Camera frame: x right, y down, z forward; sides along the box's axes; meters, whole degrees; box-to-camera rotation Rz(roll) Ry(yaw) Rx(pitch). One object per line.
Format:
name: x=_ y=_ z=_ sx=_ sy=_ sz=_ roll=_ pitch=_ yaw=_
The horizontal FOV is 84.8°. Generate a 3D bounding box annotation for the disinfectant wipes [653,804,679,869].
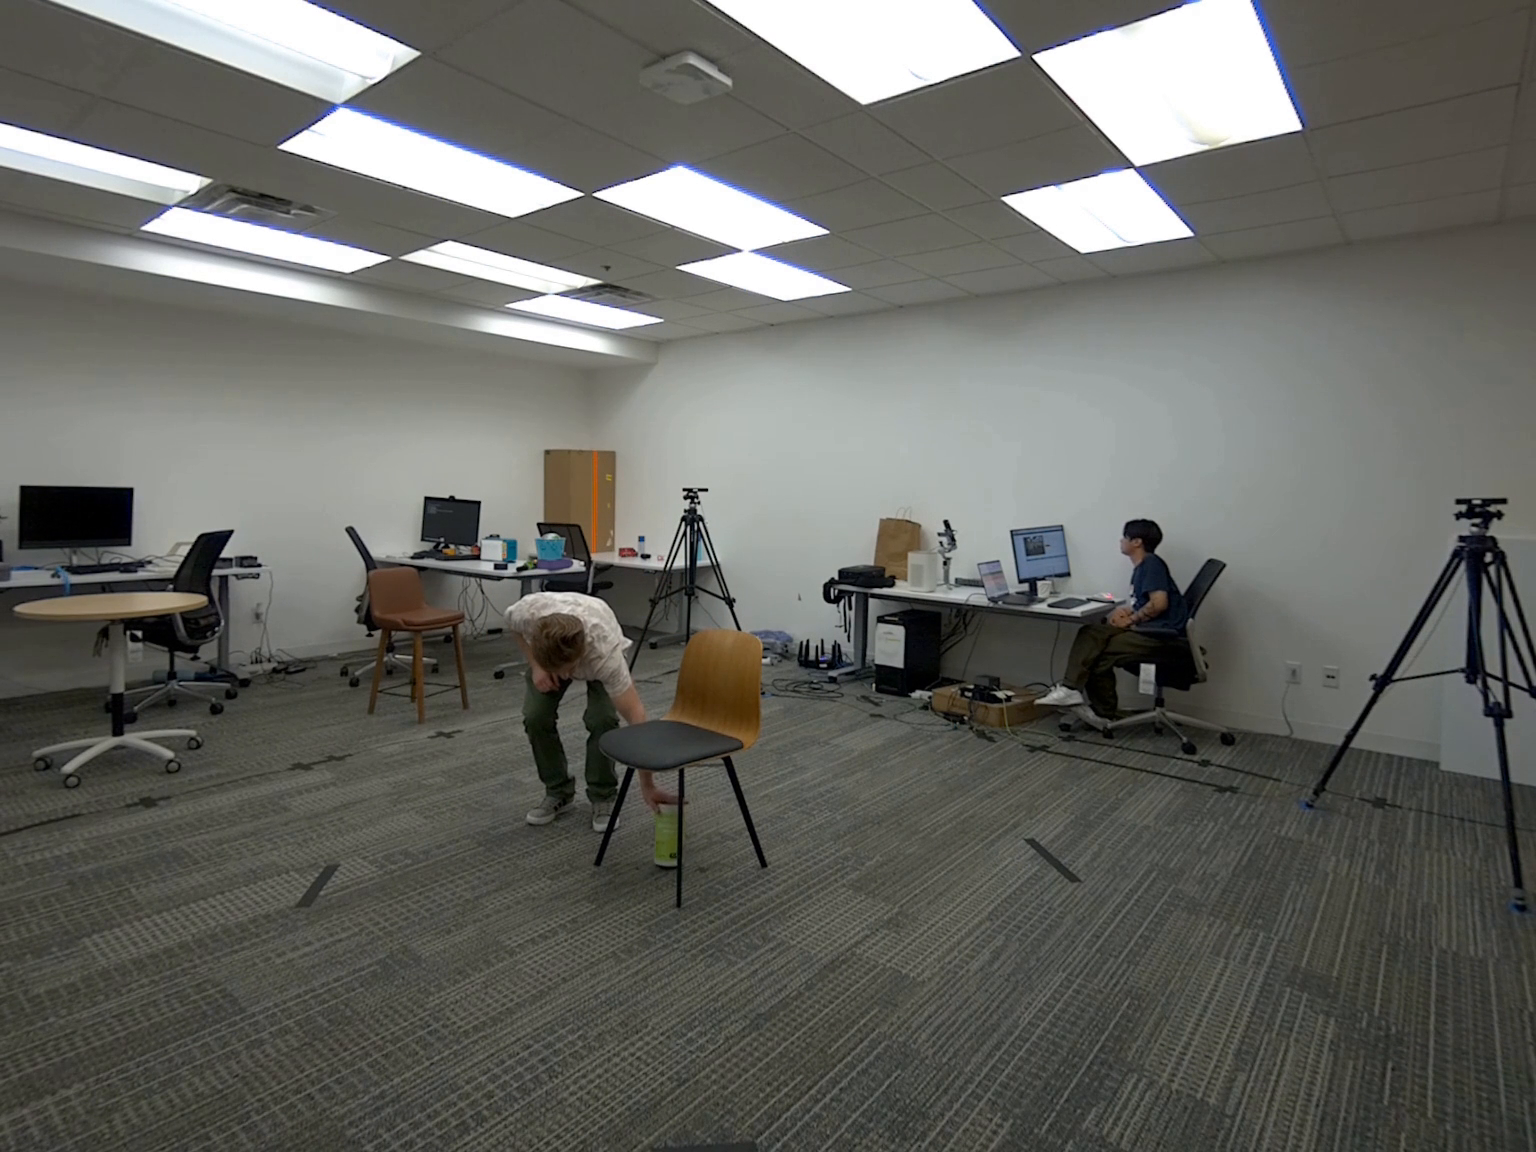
disinfectant wipes: x=-0.383 y=0.963 z=3.151 sx=0.118 sy=0.218 sz=0.117 roll=4 pitch=-3 yaw=-2
